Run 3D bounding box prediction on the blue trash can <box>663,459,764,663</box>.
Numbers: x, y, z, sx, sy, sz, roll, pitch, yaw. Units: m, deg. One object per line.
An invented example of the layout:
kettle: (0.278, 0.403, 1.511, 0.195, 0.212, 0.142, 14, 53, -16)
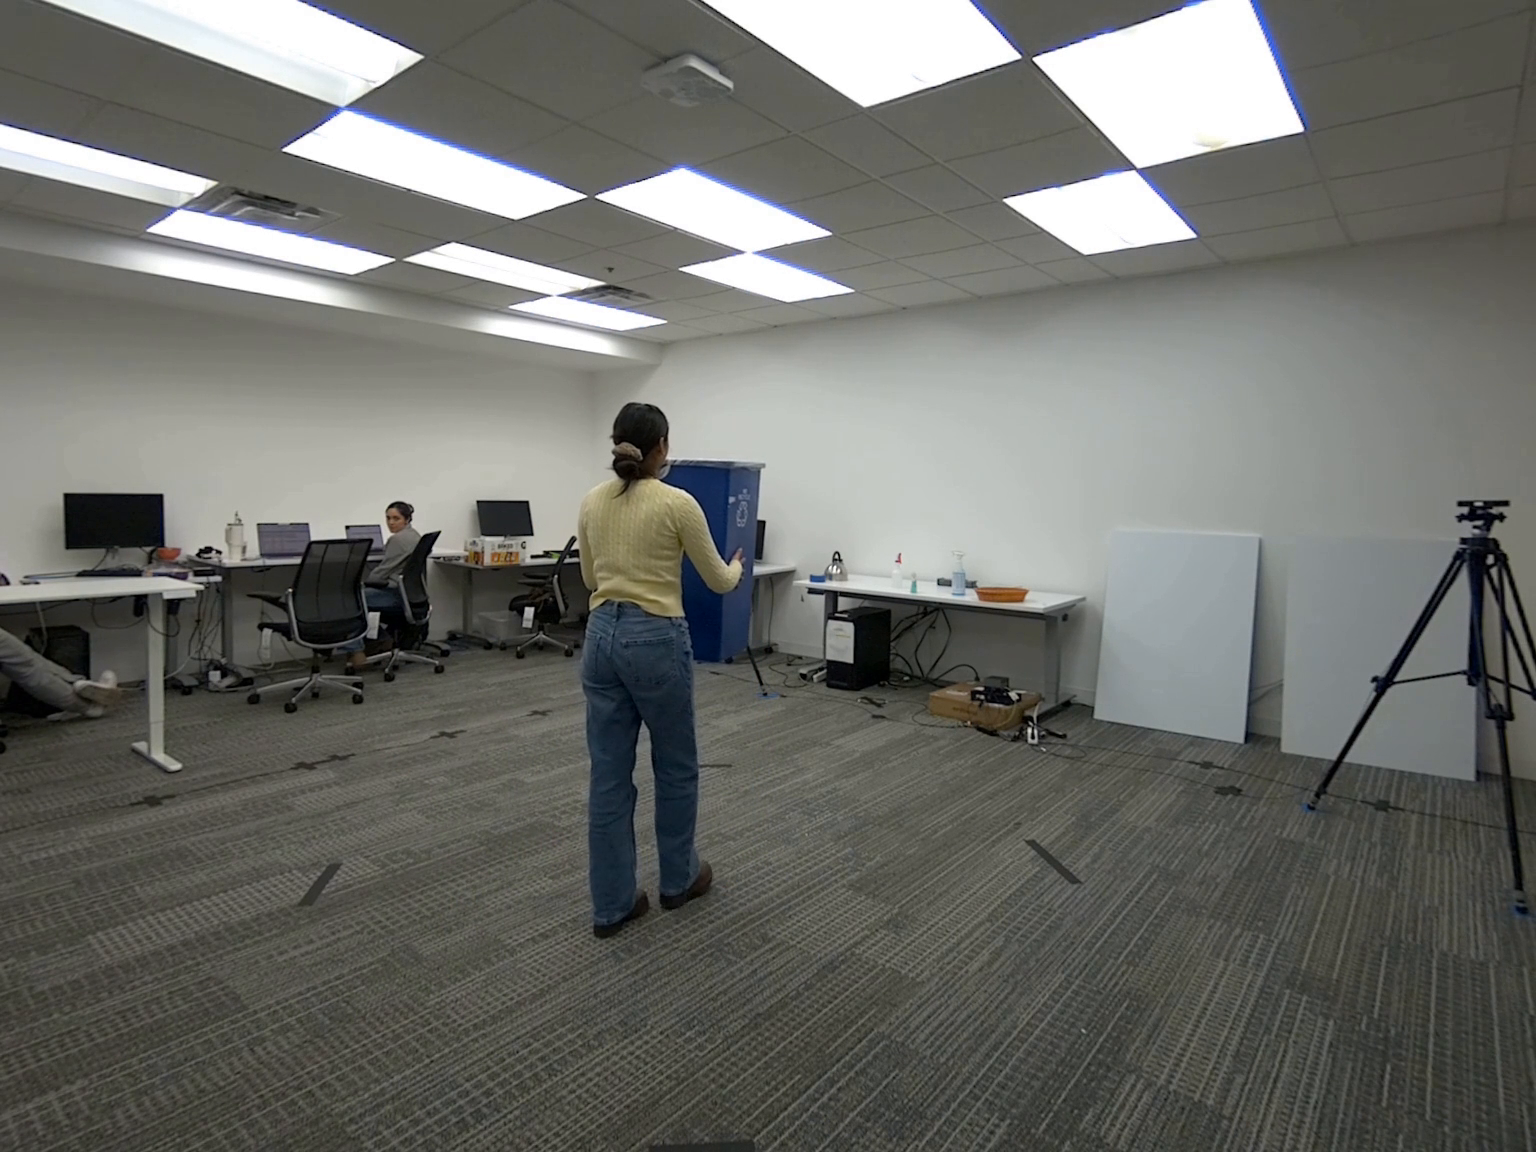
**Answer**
blue trash can: (-0.257, -0.083, 3.167, 0.387, 0.710, 0.368, 4, 6, 20)
